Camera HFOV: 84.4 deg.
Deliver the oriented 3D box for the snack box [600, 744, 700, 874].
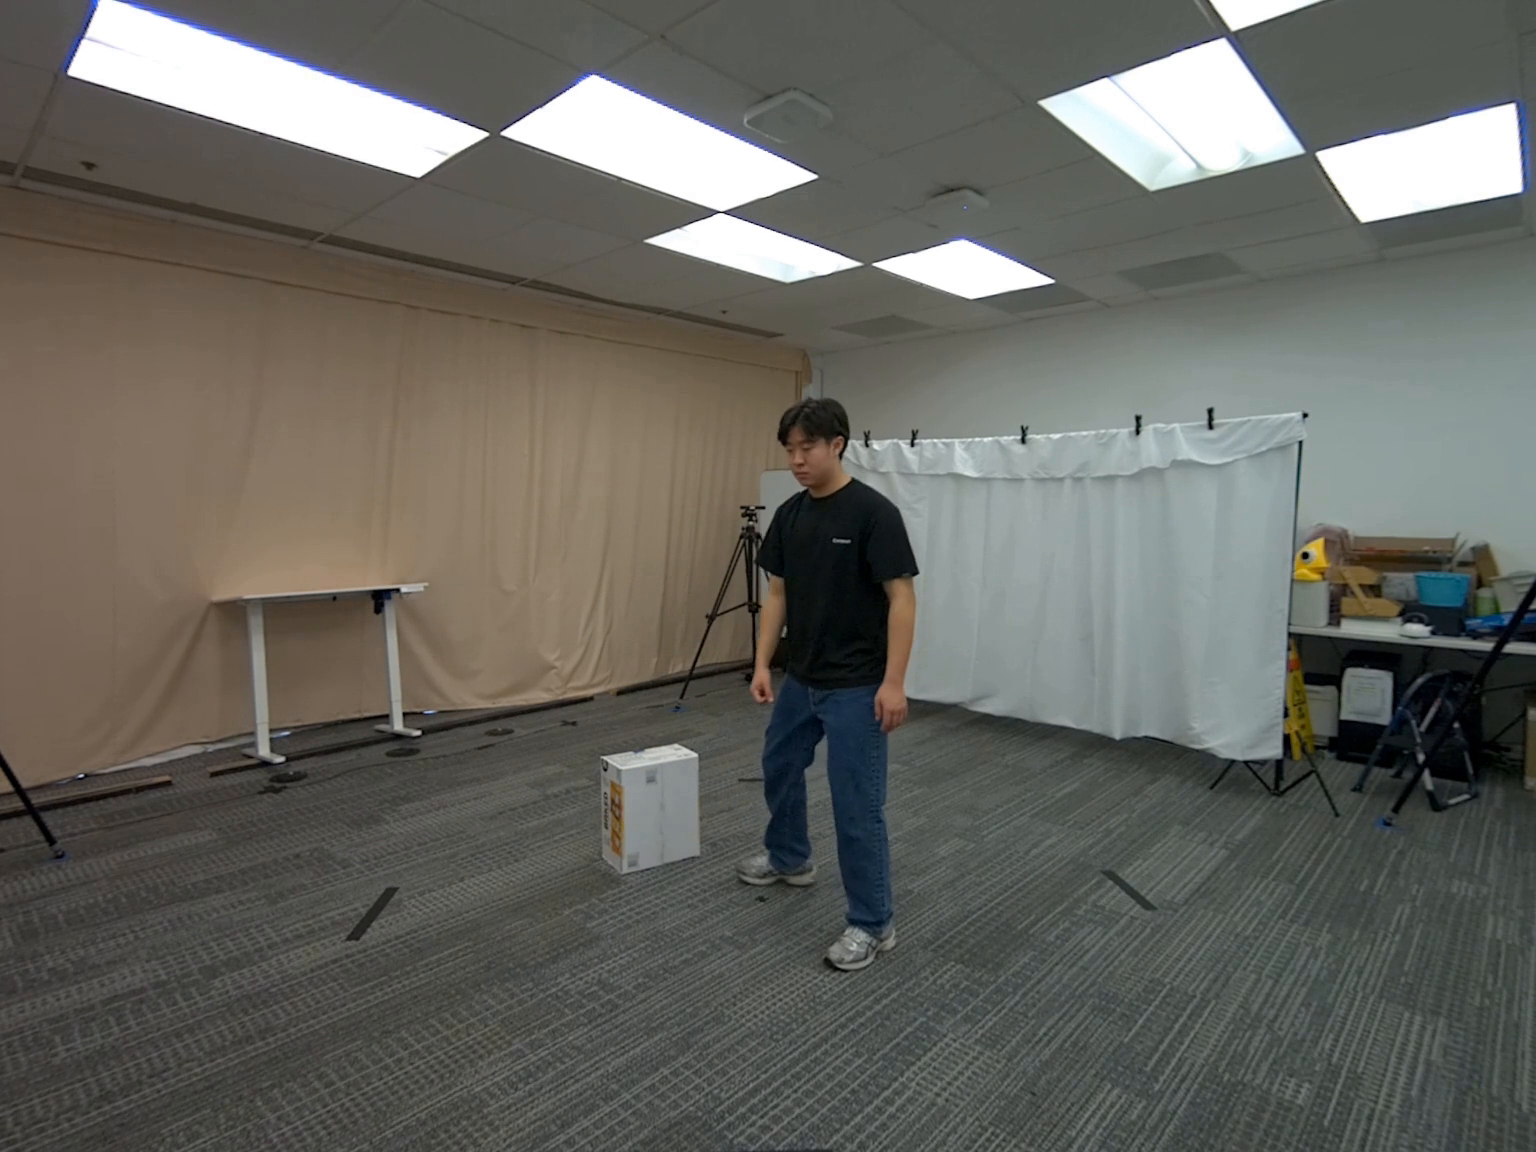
[{"bbox_3d":[-0.466,0.911,3.347,0.331,0.404,0.212,-2,4,-32],"label":"snack box"}]
